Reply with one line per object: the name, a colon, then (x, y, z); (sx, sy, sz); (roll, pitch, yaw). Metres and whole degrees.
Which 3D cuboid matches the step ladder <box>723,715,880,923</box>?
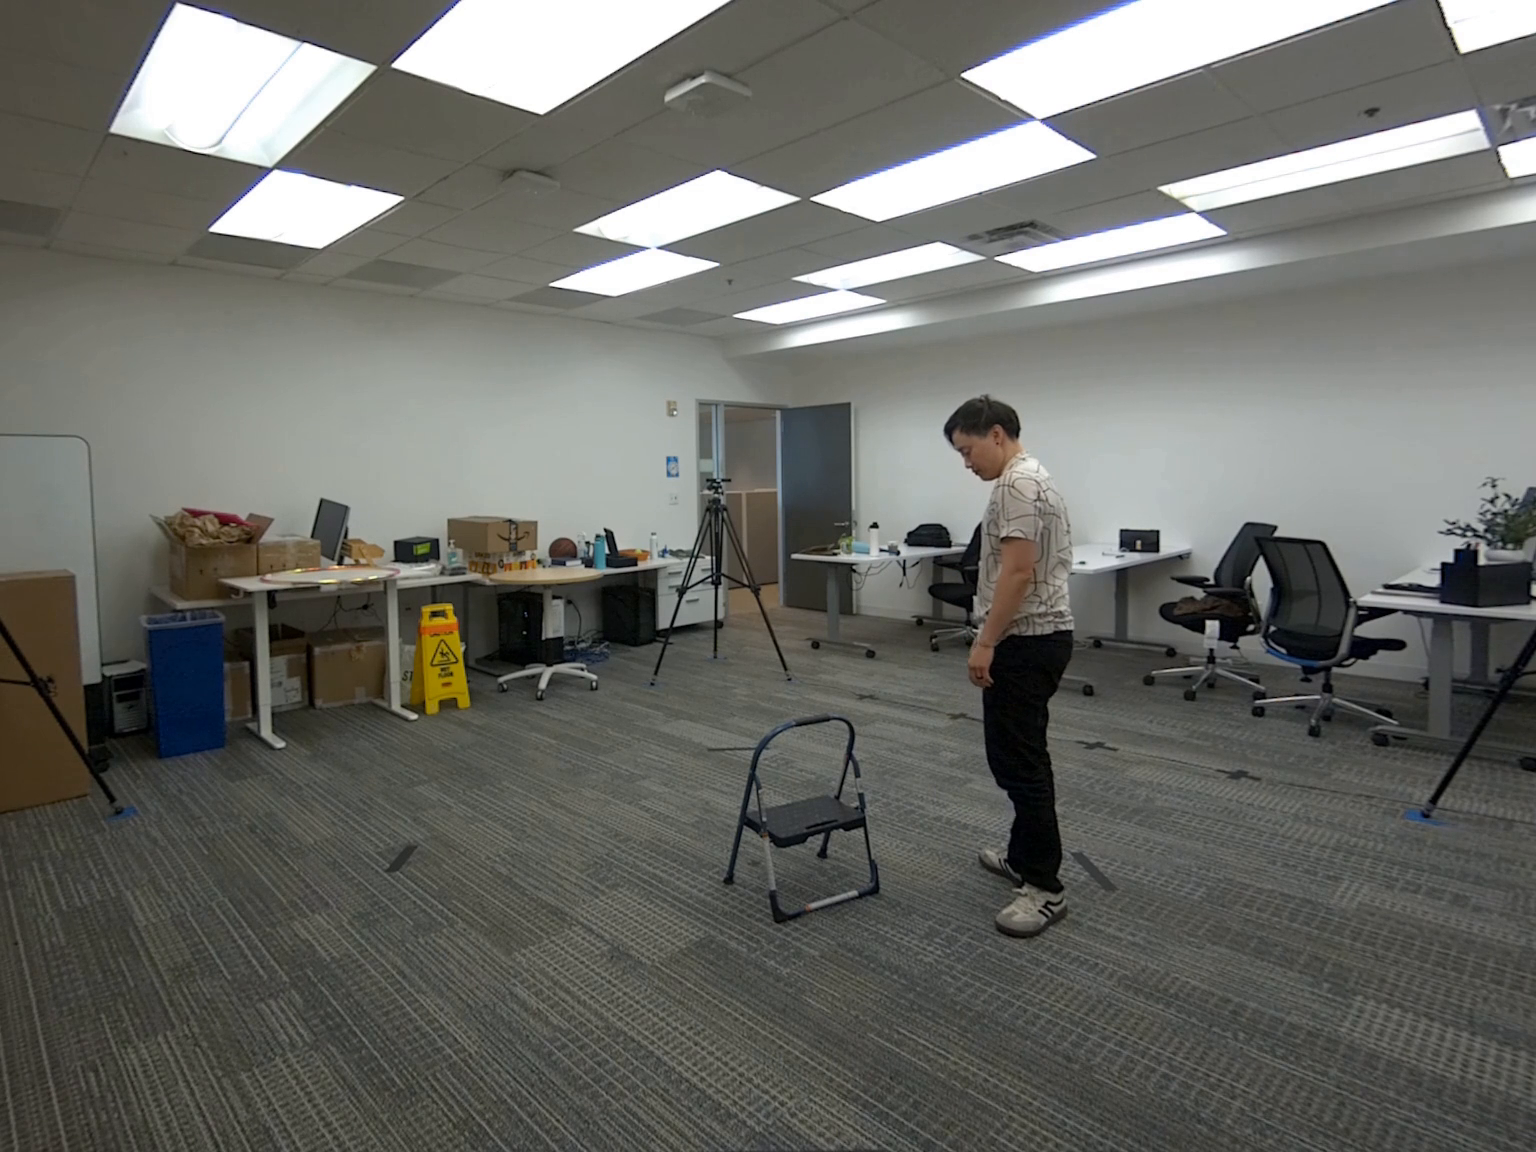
step ladder: (0.114, 0.760, 2.899); (0.420, 0.604, 0.359); (-3, 5, -31)
